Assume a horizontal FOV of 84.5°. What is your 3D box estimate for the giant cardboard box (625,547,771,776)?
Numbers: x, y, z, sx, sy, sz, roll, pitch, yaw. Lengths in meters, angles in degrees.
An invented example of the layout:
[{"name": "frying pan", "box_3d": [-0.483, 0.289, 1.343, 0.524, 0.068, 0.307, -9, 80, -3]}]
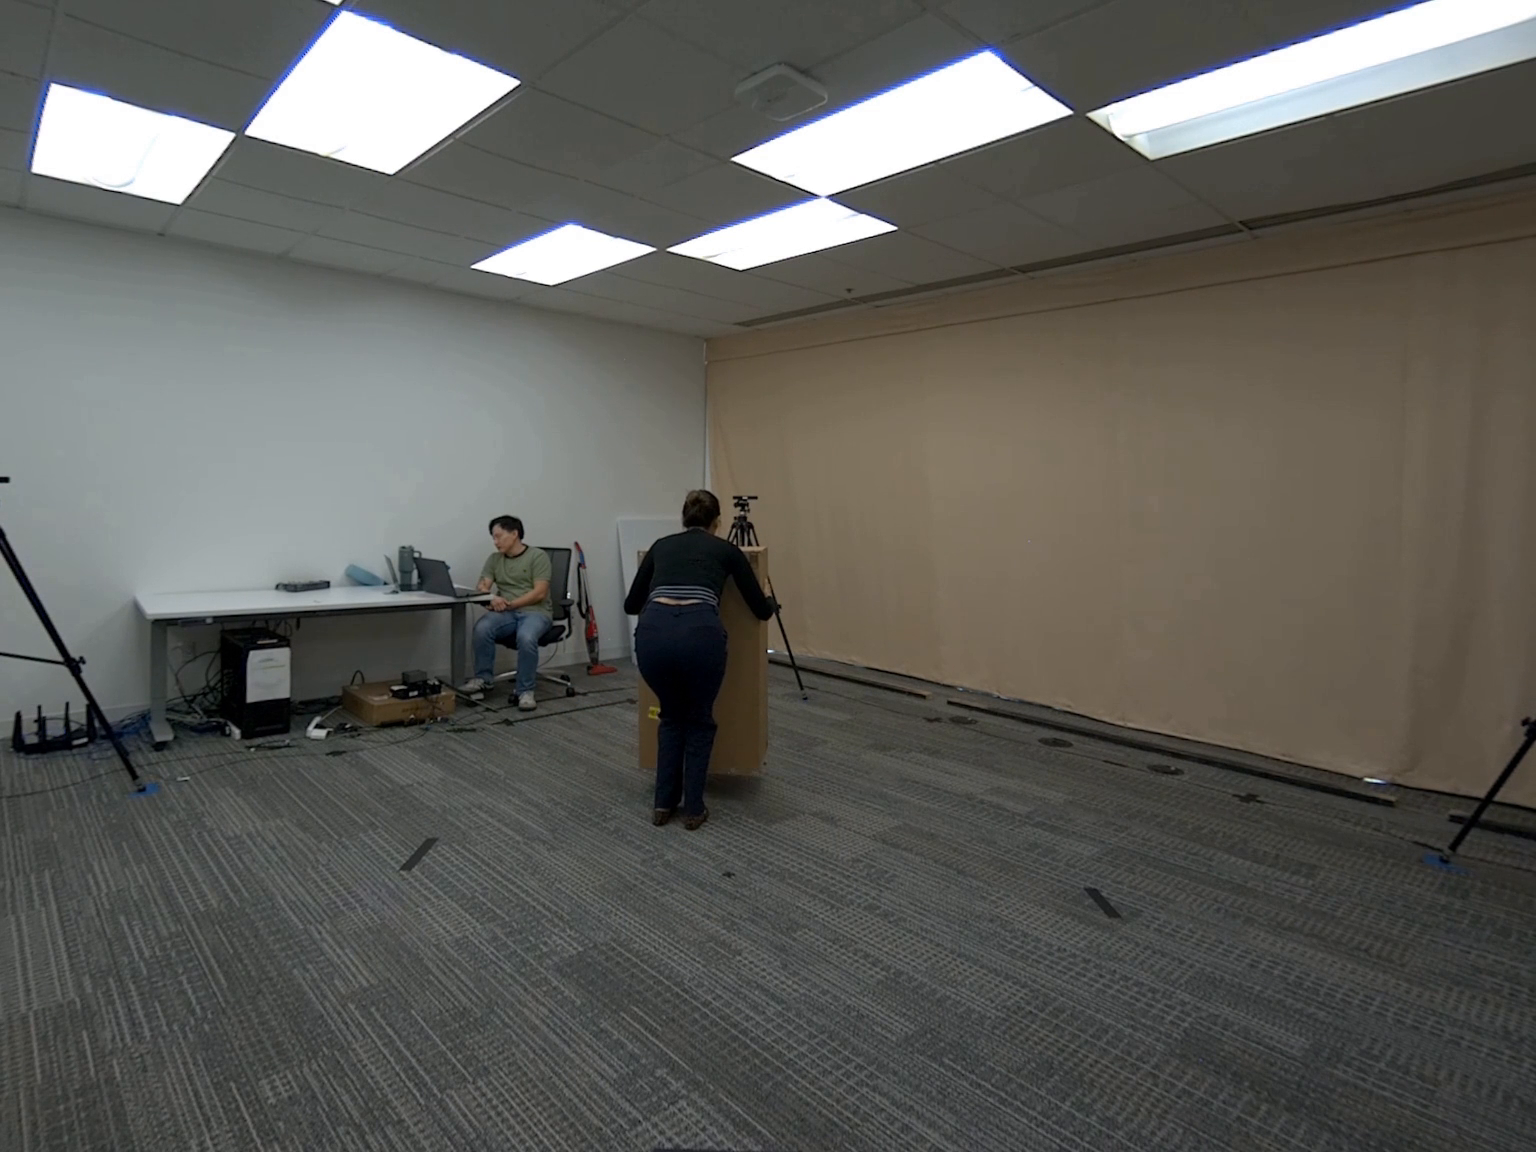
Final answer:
[{"name": "giant cardboard box", "box_3d": [-0.314, 0.385, 4.077, 0.580, 1.024, 0.425, 0, 2, 6]}]
